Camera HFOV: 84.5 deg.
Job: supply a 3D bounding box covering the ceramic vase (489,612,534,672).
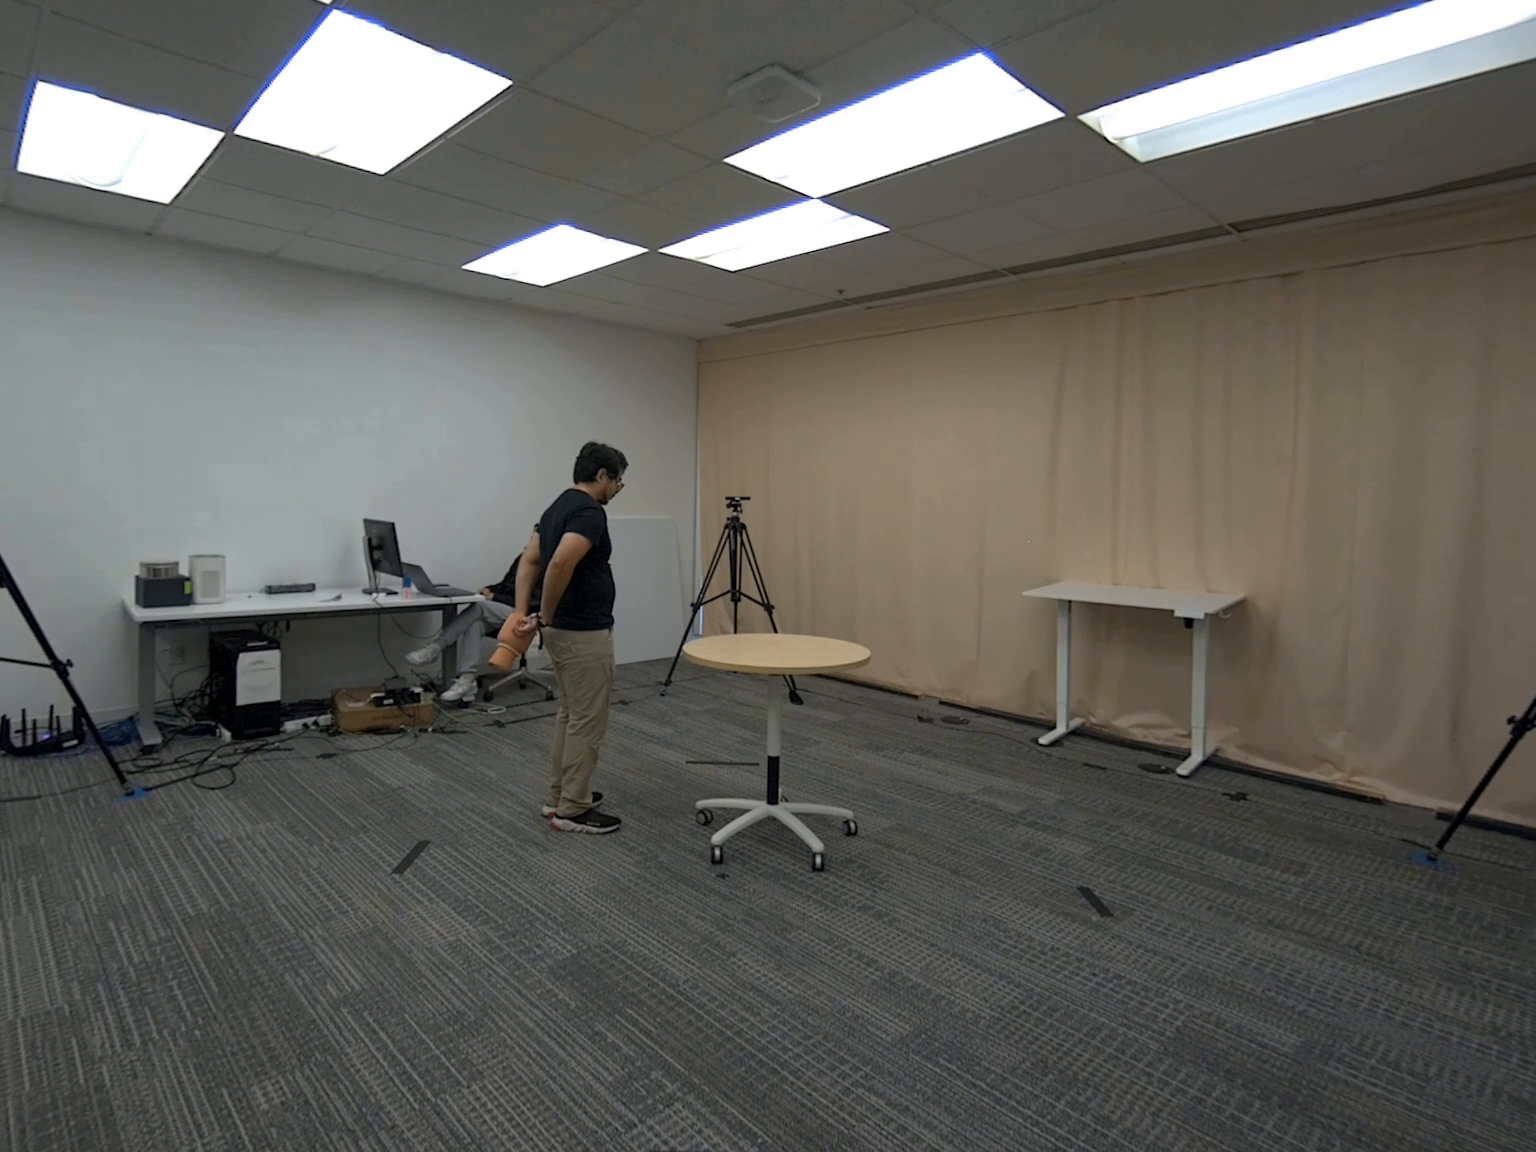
[{"bbox_3d":[-1.048,0.275,3.438,0.137,0.221,0.154,11,-25,26],"label":"ceramic vase"}]
